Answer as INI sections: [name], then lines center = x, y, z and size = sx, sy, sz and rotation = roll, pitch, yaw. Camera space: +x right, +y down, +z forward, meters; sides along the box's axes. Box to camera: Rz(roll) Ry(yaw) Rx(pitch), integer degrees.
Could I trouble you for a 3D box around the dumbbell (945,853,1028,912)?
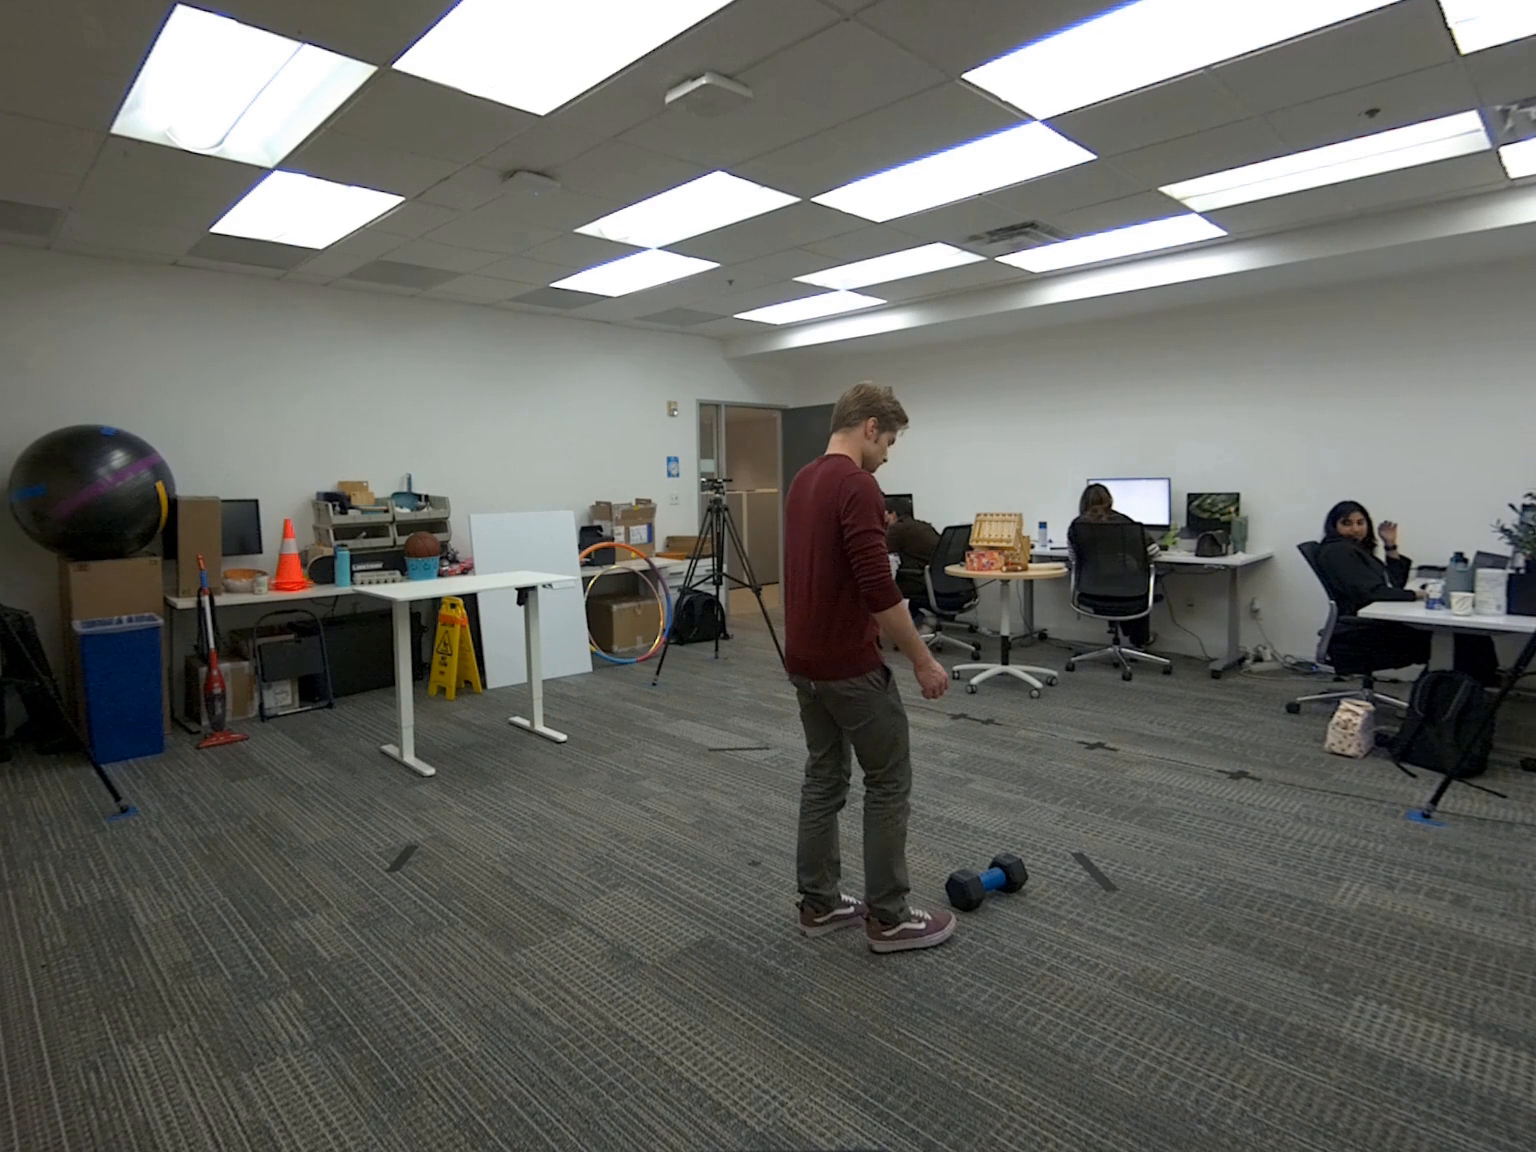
[dumbbell]
center = 0.732, 1.012, 2.821
size = 0.286, 0.121, 0.113
rotation = -5, 38, -34
